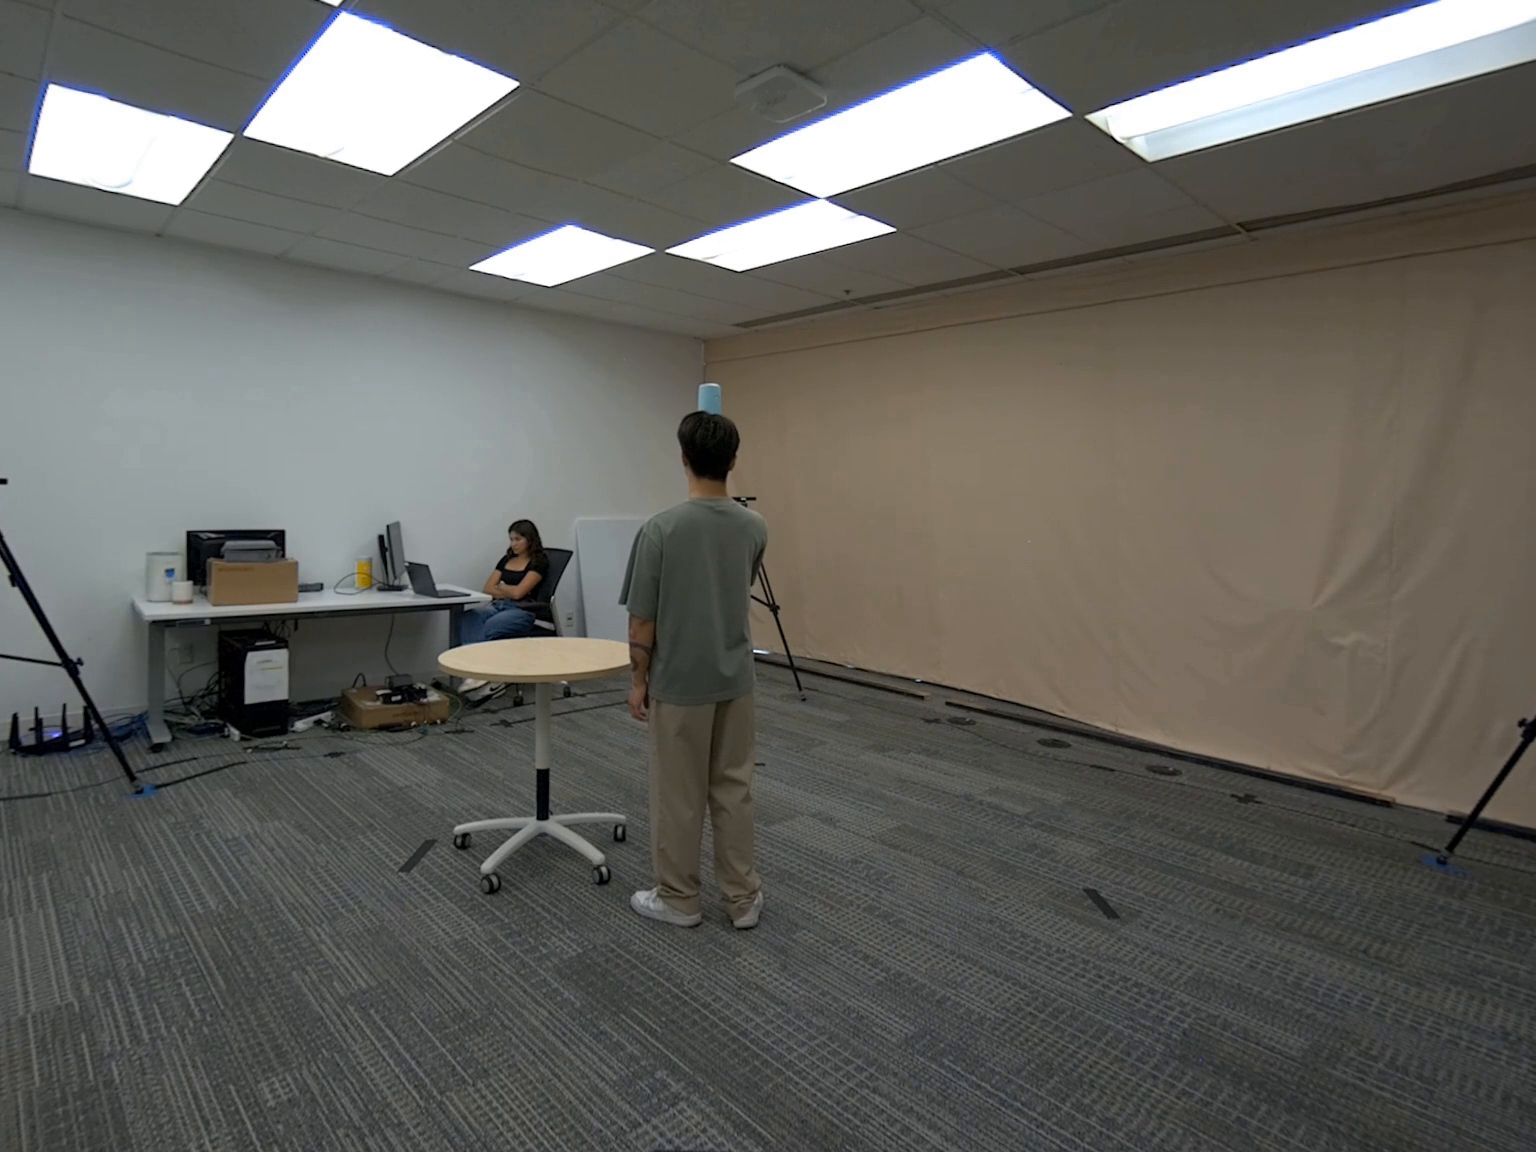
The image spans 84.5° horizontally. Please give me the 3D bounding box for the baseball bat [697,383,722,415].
[{"bbox_3d":[-0.238,-0.480,3.295,0.089,0.541,0.089,1,5,-1],"label":"baseball bat"}]
